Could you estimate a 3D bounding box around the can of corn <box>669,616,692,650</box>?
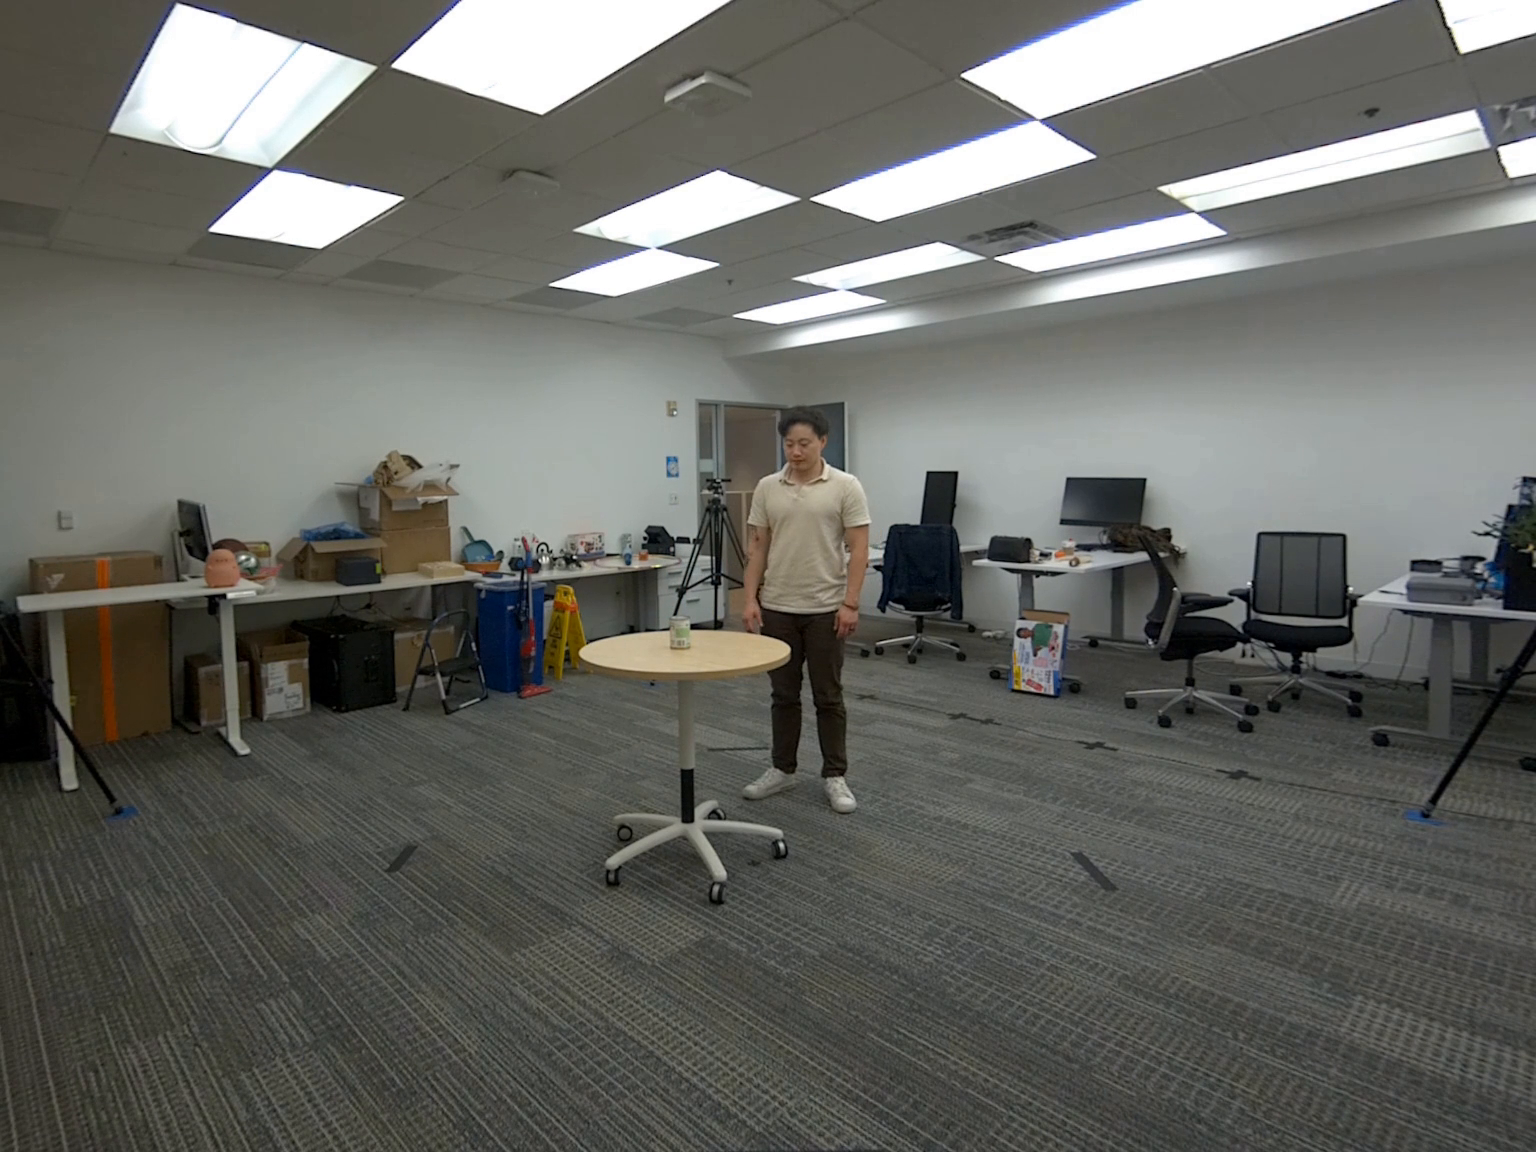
[{"bbox_3d":[-0.317,0.206,3.118,0.074,0.110,0.074,0,5,-2],"label":"can of corn"}]
